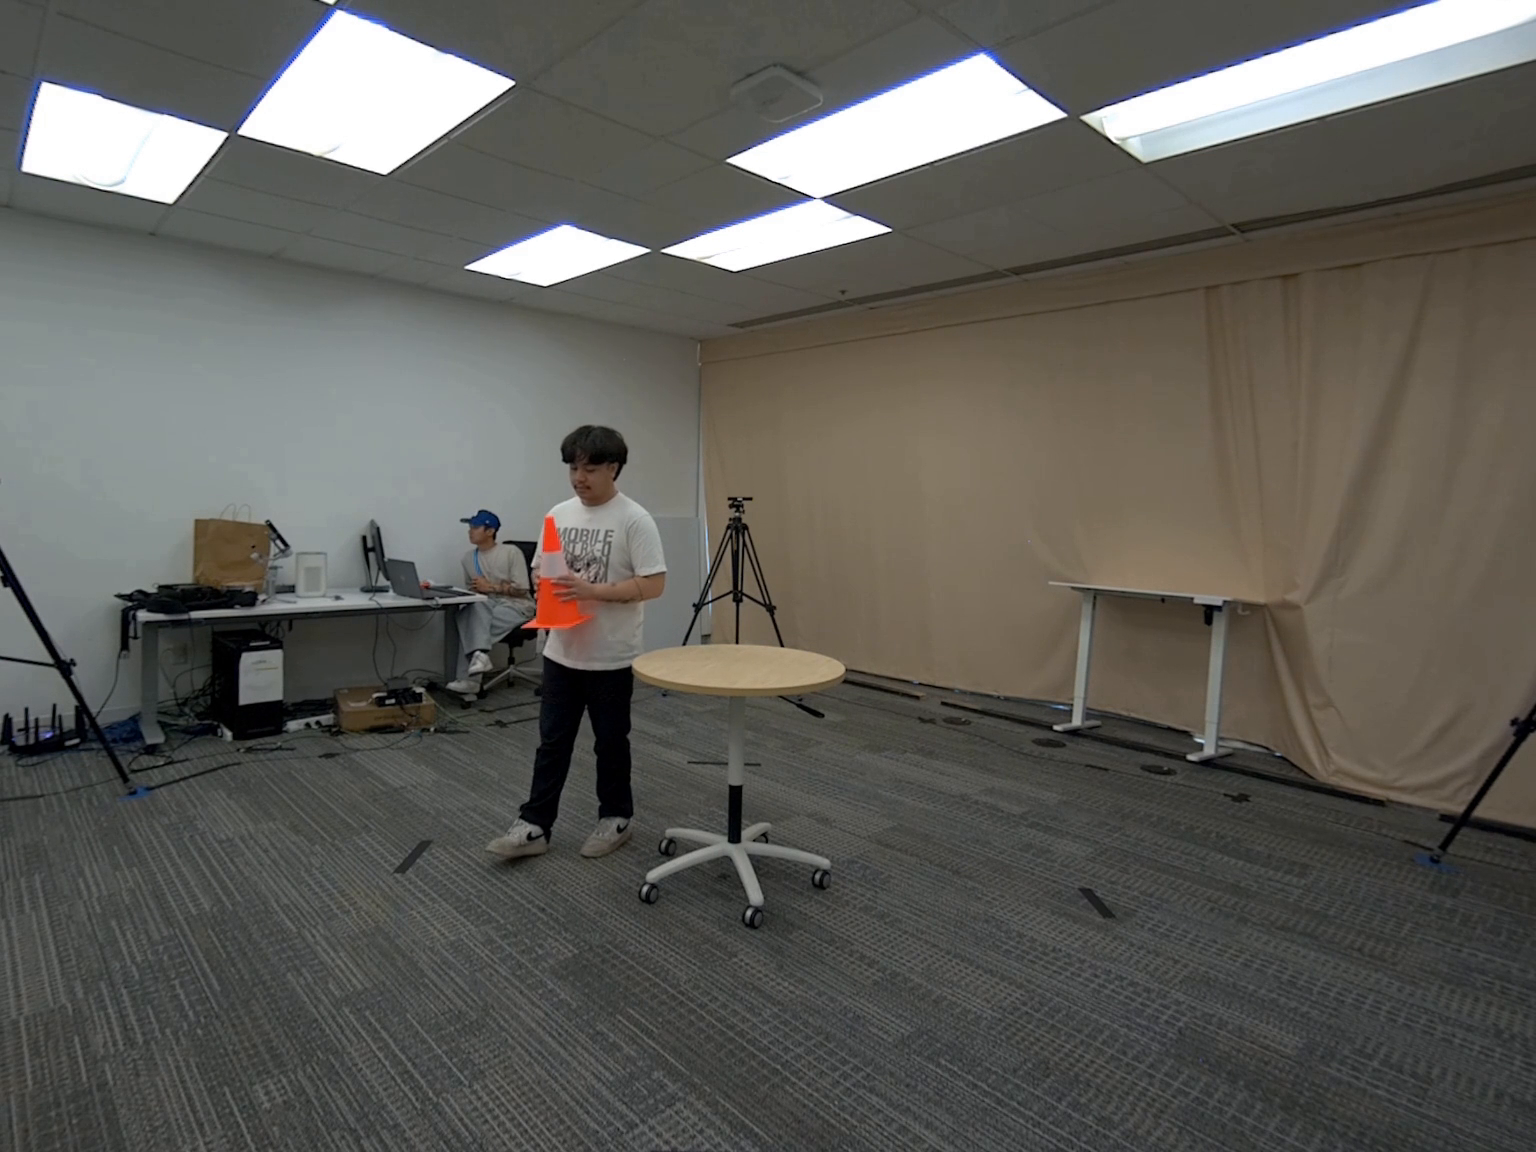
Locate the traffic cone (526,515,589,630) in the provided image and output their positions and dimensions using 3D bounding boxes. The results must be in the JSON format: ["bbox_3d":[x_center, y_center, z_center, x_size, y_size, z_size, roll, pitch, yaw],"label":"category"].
[{"bbox_3d":[-0.787,-0.023,3.006,0.209,0.381,0.201,3,11,25],"label":"traffic cone"}]
